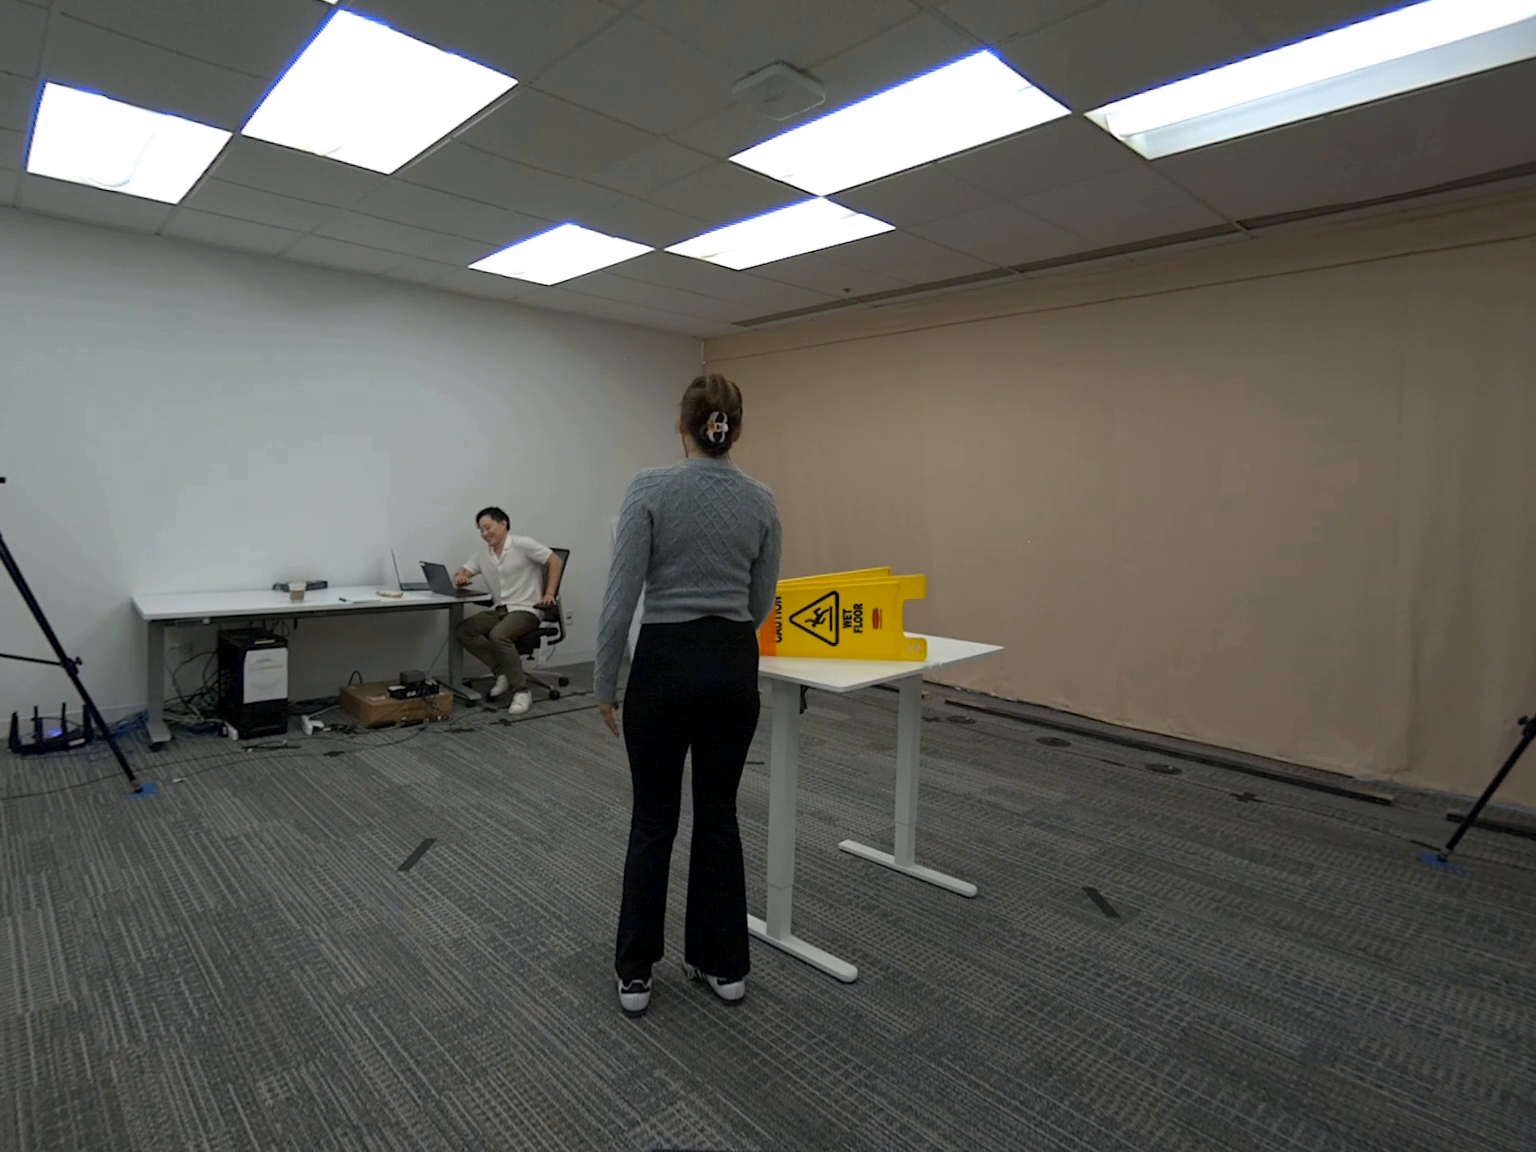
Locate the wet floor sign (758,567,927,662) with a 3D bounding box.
[{"bbox_3d":[0.159,0.134,2.772,0.640,0.281,0.293,-2,5,-13],"label":"wet floor sign"}]
